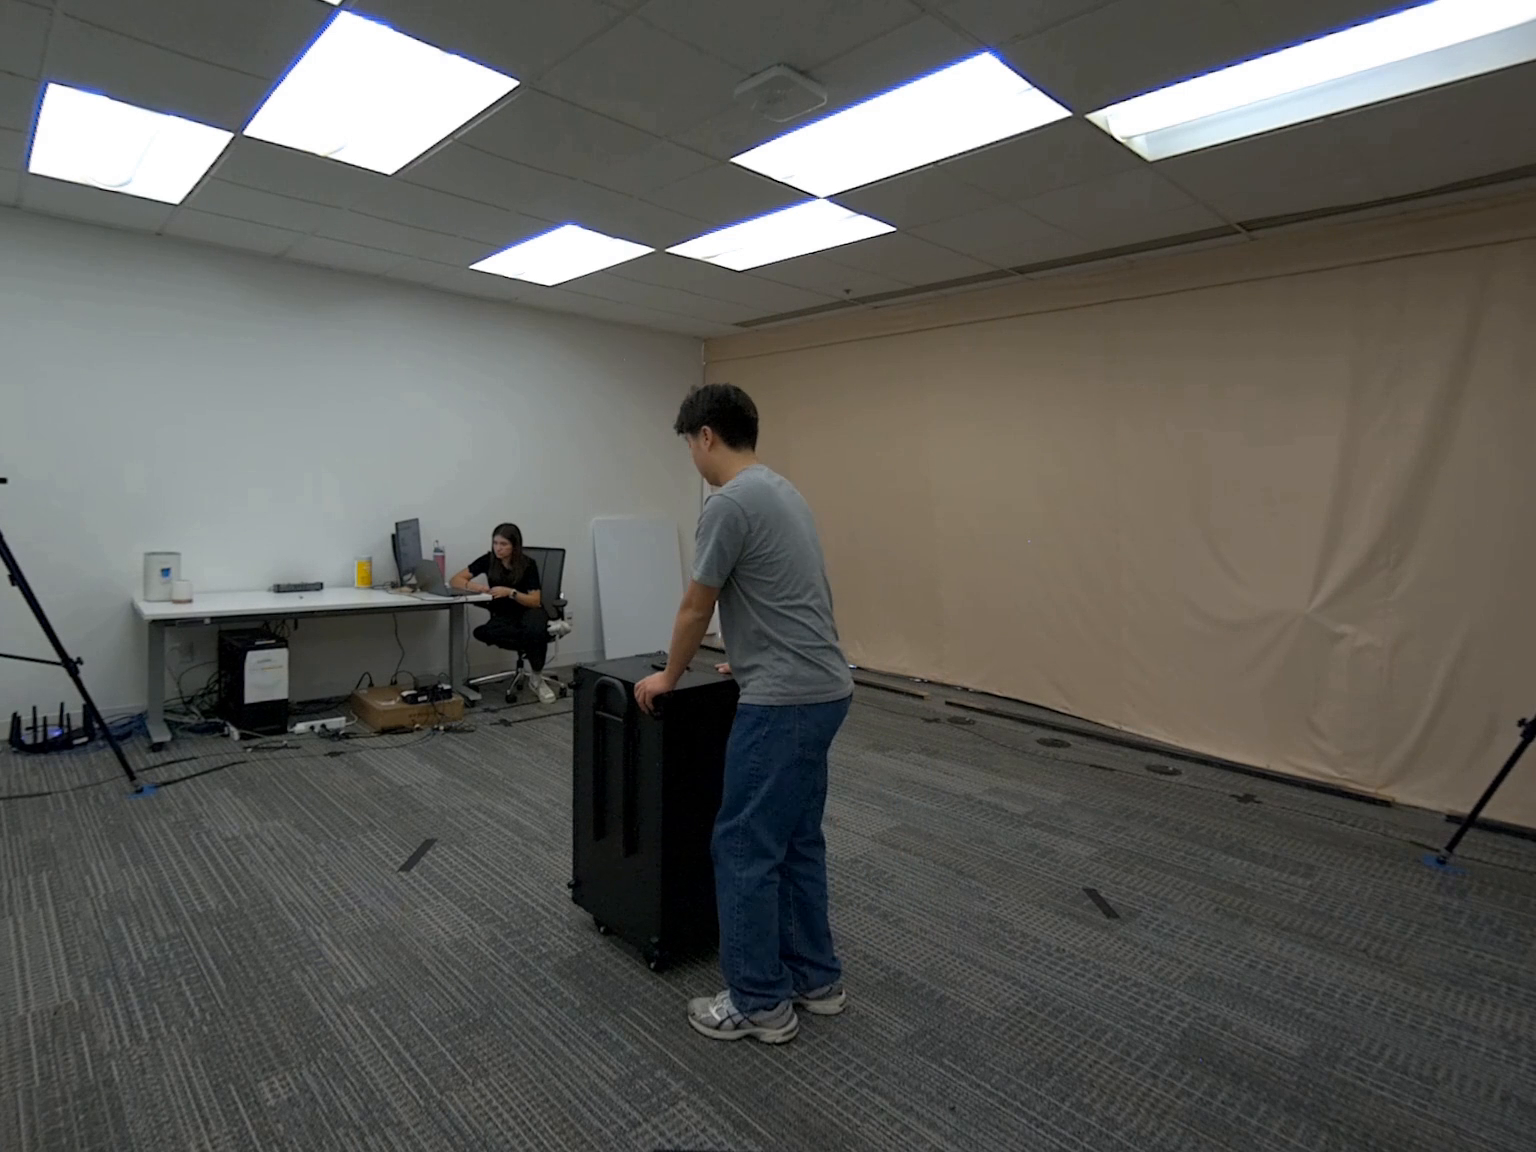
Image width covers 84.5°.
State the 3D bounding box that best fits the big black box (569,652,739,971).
[{"bbox_3d":[-0.347,0.721,2.642,0.387,0.859,0.535,-3,6,-43],"label":"big black box"}]
